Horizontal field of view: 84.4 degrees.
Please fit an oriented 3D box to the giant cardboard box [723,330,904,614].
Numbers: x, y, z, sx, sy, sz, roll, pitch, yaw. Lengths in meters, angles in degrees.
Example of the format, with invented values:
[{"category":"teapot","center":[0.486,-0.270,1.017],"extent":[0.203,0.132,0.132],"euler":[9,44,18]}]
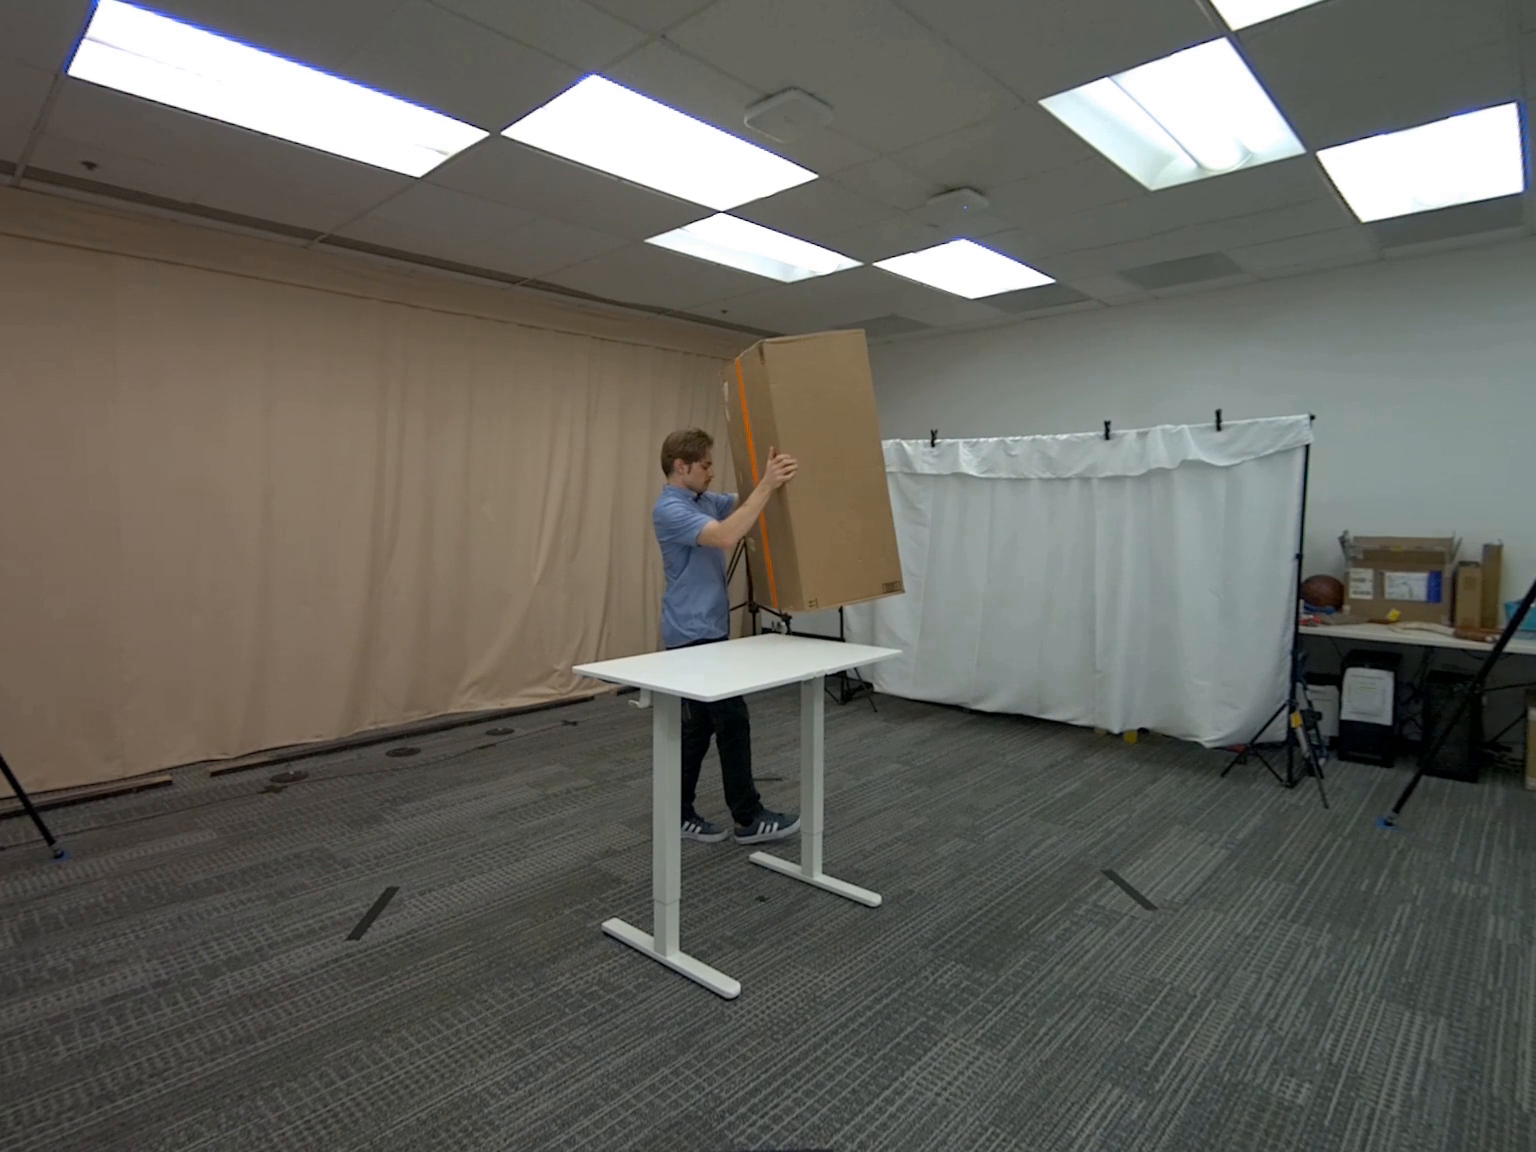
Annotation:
[{"category":"giant cardboard box","center":[0.161,-0.399,3.427],"extent":[0.420,1.023,0.588],"euler":[-10,3,-17]}]
